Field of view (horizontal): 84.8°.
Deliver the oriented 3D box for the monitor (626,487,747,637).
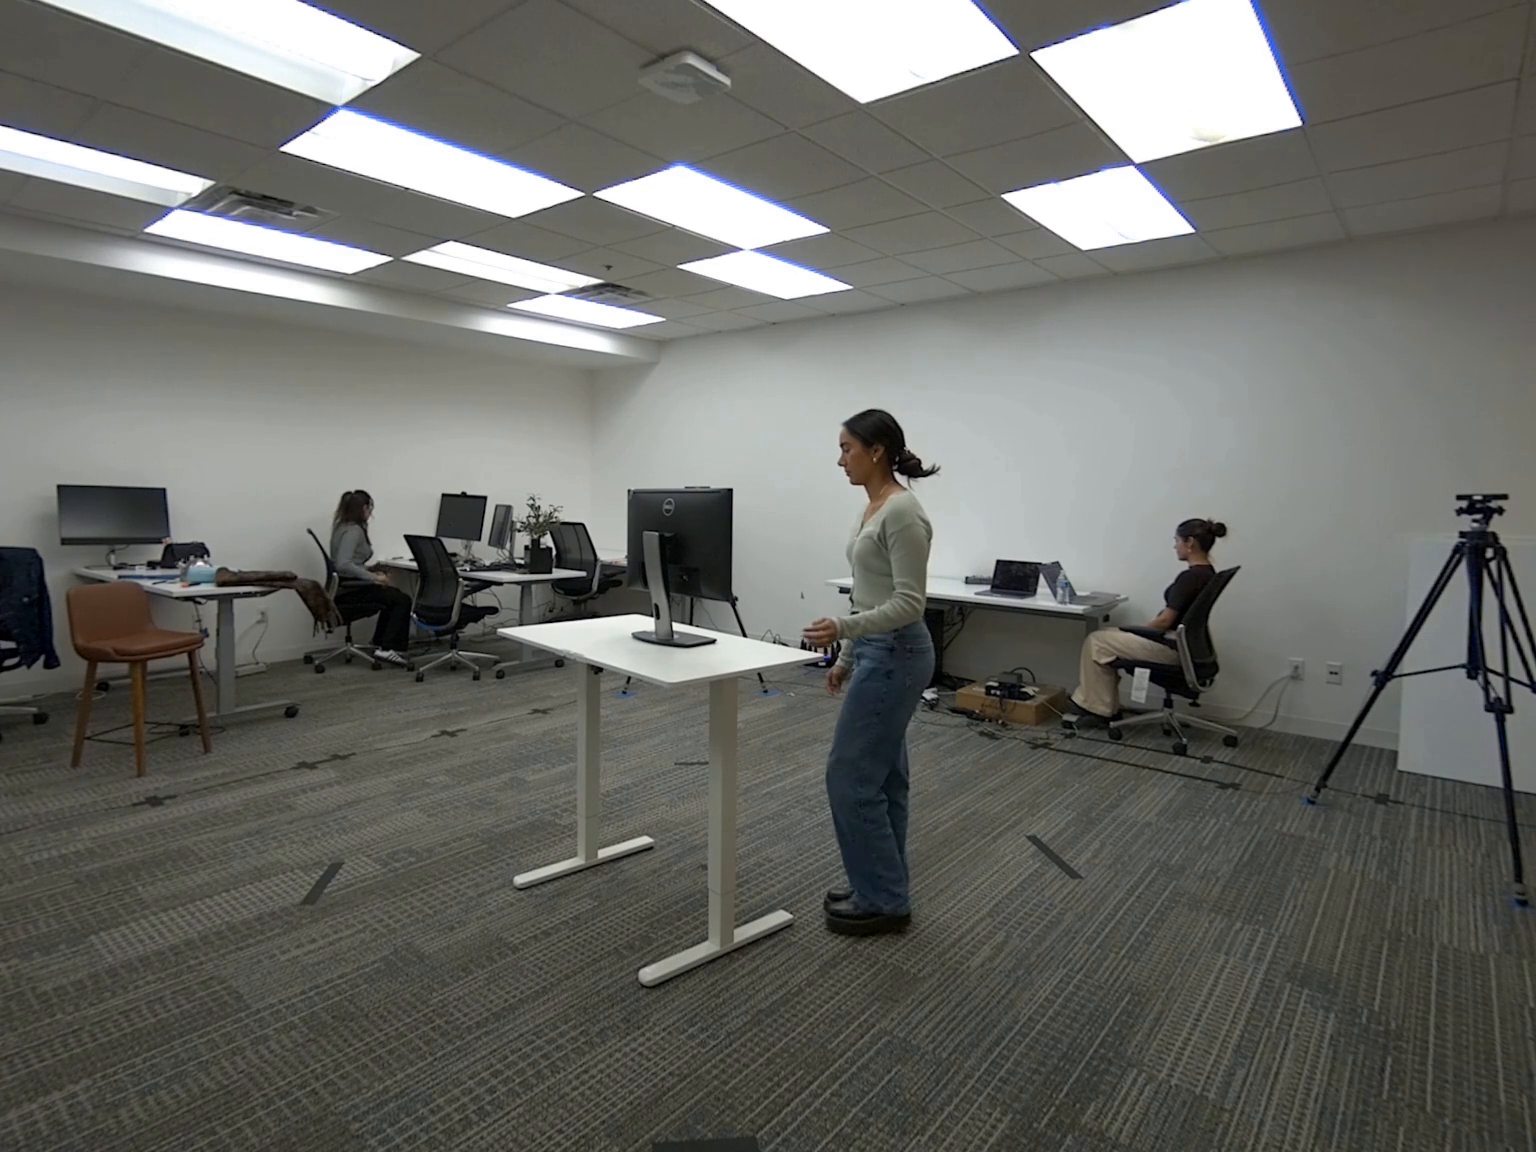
[{"bbox_3d":[-0.333,-0.031,2.799,0.557,0.523,0.181,4,-1,44],"label":"monitor"}]
